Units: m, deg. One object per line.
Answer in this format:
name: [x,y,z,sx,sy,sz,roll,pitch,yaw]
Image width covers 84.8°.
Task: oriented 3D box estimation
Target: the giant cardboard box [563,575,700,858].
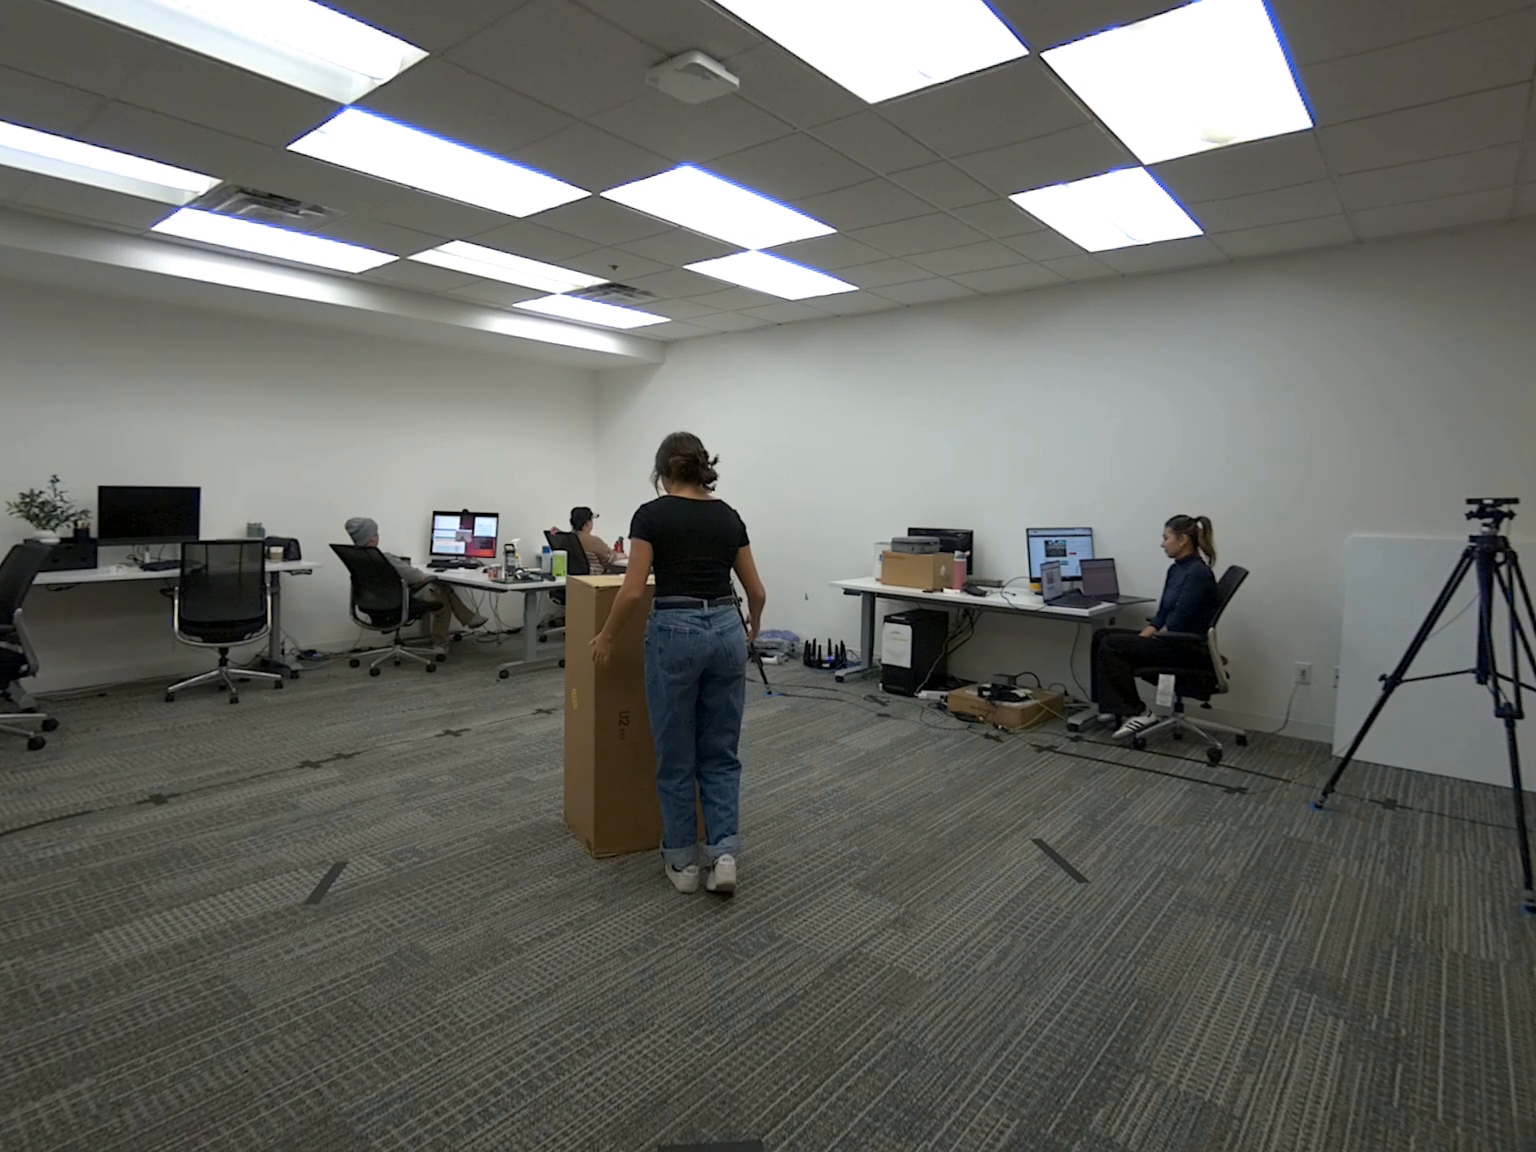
giant cardboard box: [-0.506,0.517,3.457,0.563,1.023,0.438,-1,3,-27]
